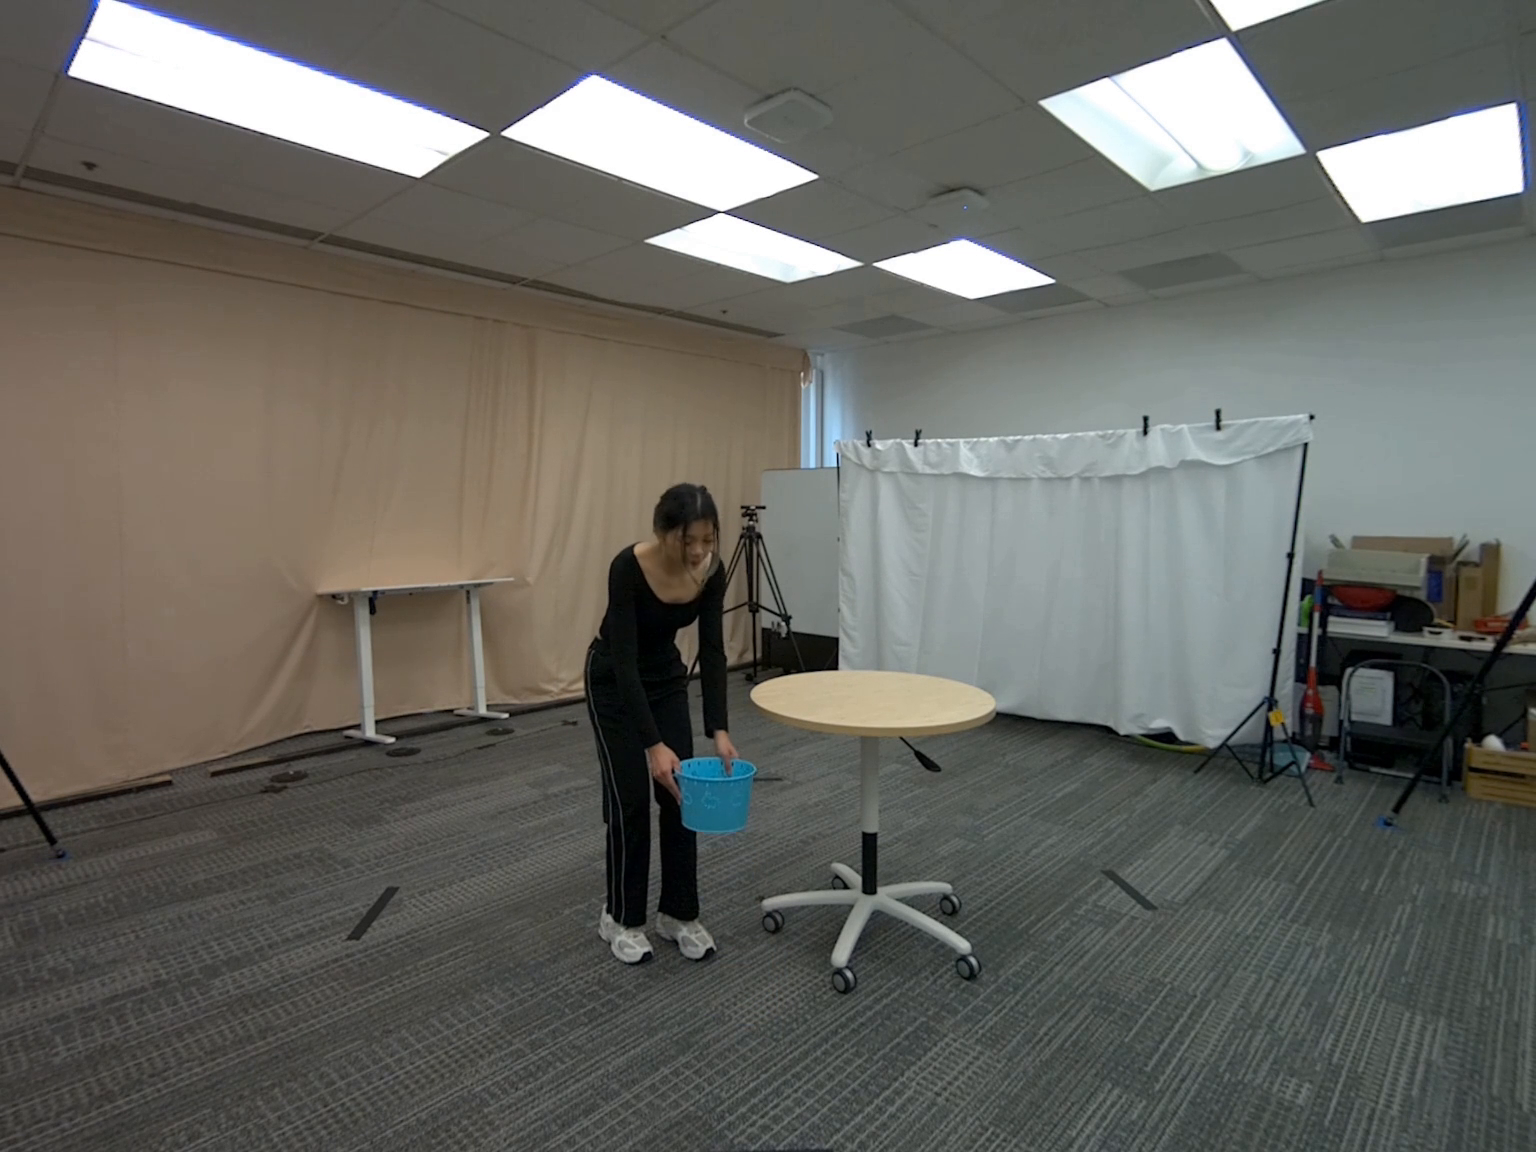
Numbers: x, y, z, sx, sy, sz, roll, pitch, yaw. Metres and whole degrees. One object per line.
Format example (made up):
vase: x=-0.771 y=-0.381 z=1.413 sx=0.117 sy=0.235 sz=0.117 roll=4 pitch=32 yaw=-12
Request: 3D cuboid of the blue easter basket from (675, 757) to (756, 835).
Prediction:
blue easter basket: x=-0.137 y=0.621 z=2.348 sx=0.243 sy=0.156 sz=0.244 roll=1 pitch=1 yaw=-2
